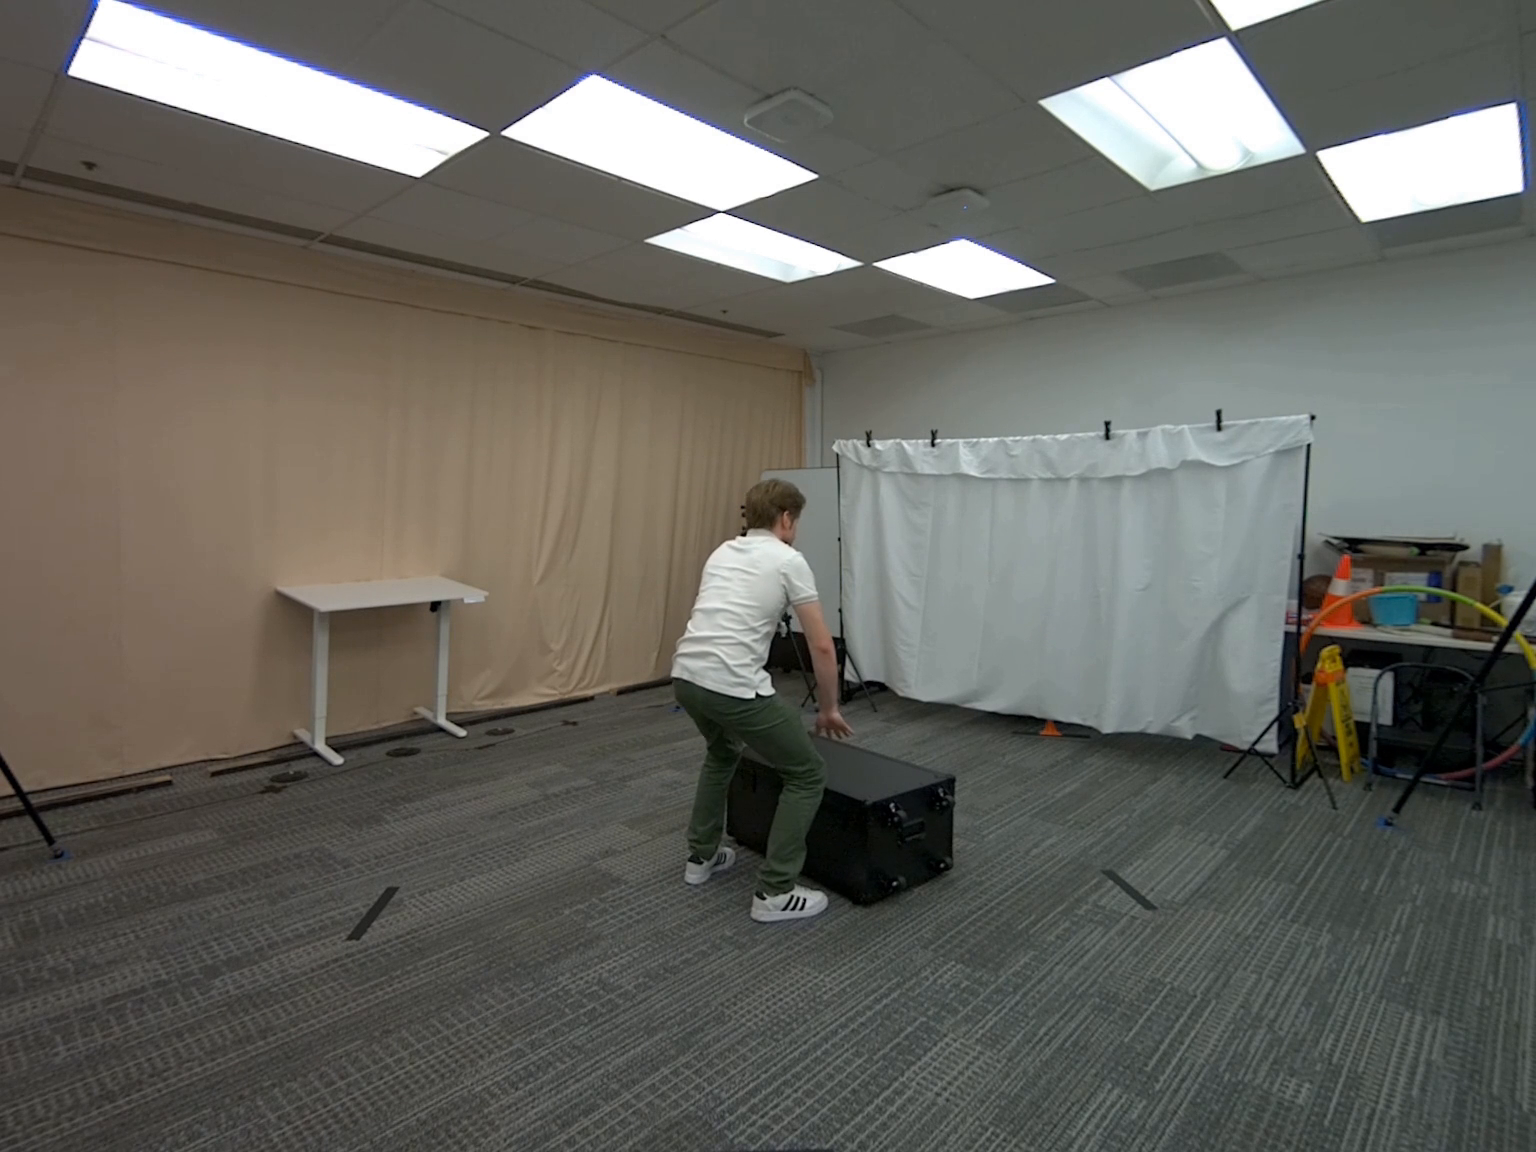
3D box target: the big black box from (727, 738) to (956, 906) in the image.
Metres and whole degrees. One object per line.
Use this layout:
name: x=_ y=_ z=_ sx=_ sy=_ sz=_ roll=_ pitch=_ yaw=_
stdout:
big black box: x=0.285 y=0.919 z=3.300 sx=0.507 sy=0.384 sz=0.897 roll=-1 pitch=4 yaw=-39
